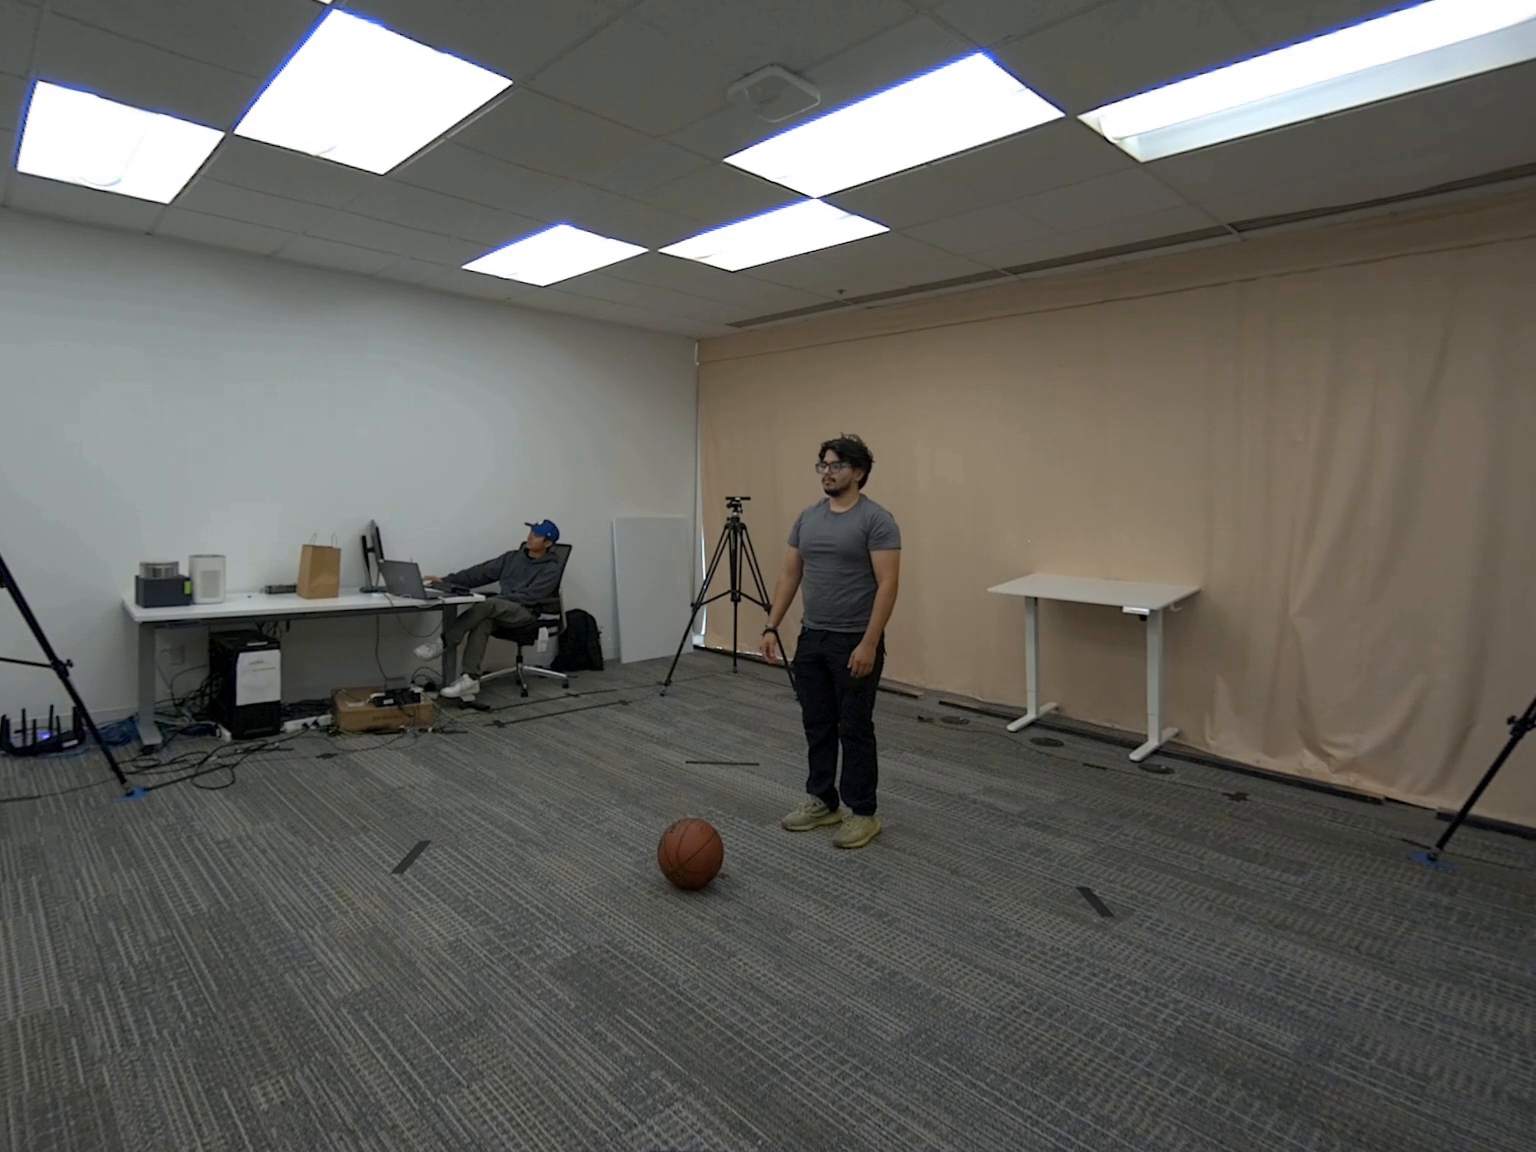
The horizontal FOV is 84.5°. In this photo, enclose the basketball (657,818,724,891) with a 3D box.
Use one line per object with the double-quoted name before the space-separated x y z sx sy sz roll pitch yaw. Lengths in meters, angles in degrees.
"basketball" -0.281 0.991 3.009 0.236 0.235 0.237 1 4 -1
